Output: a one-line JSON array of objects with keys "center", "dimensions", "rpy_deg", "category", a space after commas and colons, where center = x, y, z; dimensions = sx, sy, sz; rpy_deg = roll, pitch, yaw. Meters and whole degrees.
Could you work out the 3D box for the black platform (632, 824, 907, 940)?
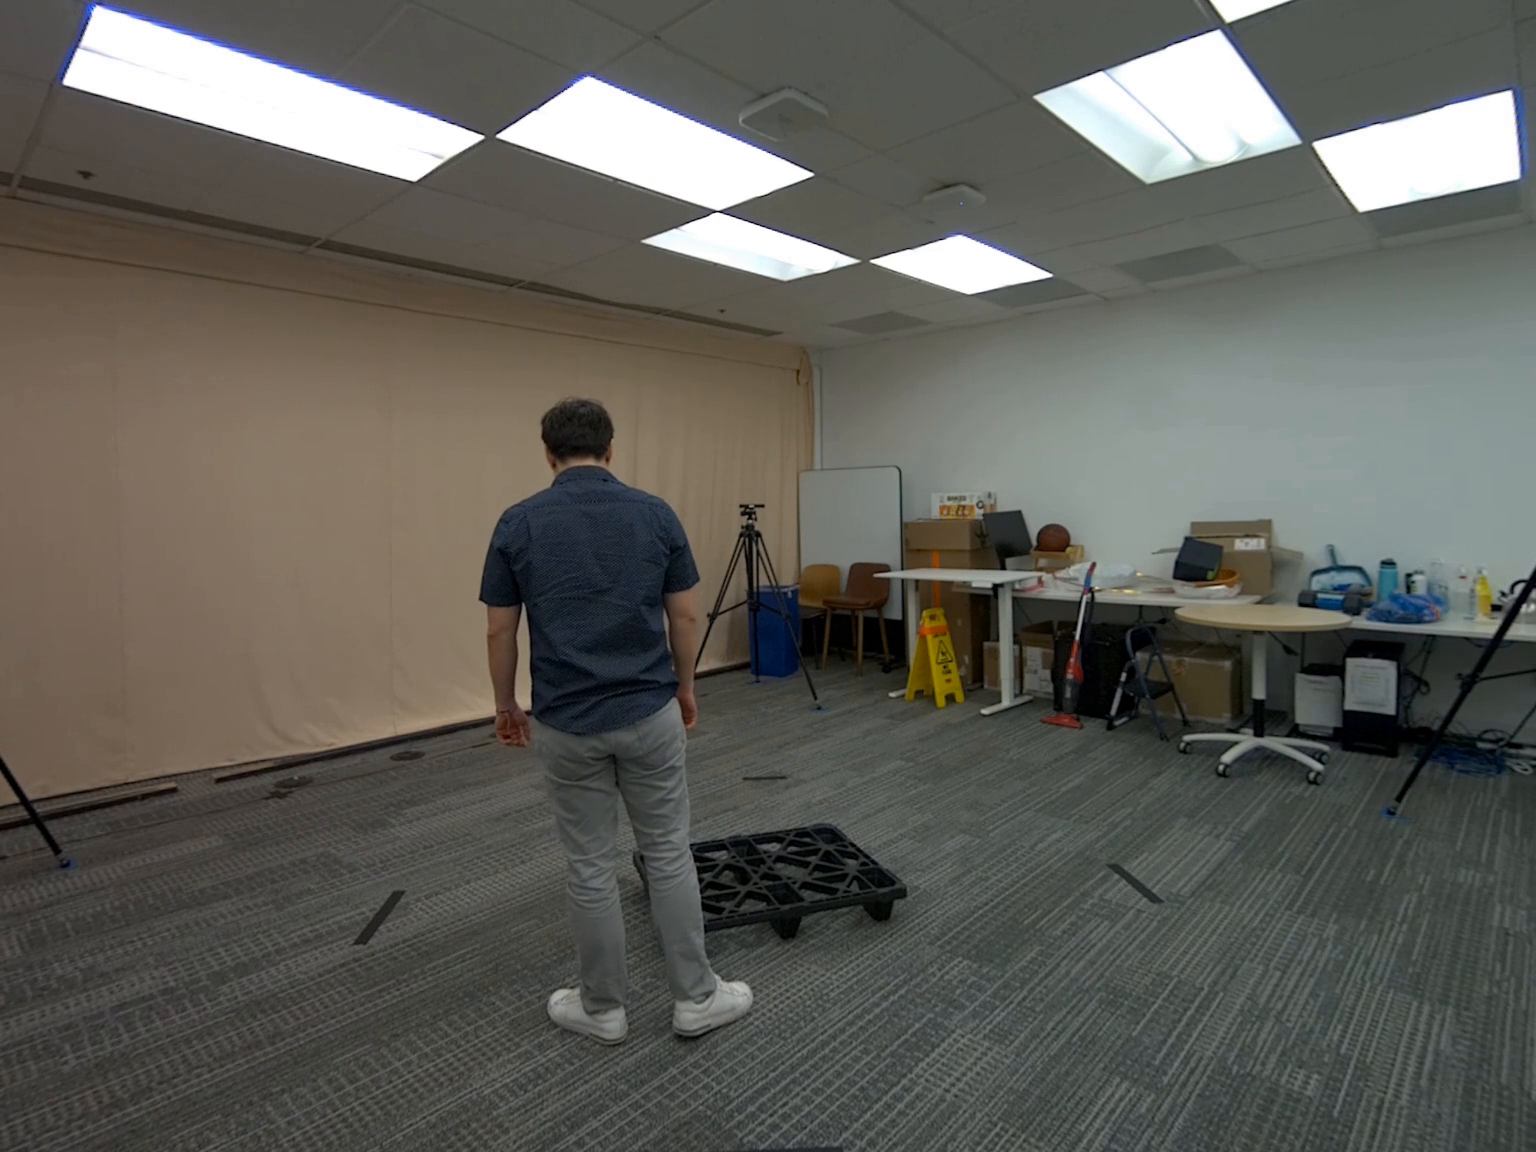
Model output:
[{"center": [-0.016, 1.076, 2.920], "dimensions": [0.790, 0.143, 0.618], "rpy_deg": [-2, 5, -19], "category": "black platform"}]
